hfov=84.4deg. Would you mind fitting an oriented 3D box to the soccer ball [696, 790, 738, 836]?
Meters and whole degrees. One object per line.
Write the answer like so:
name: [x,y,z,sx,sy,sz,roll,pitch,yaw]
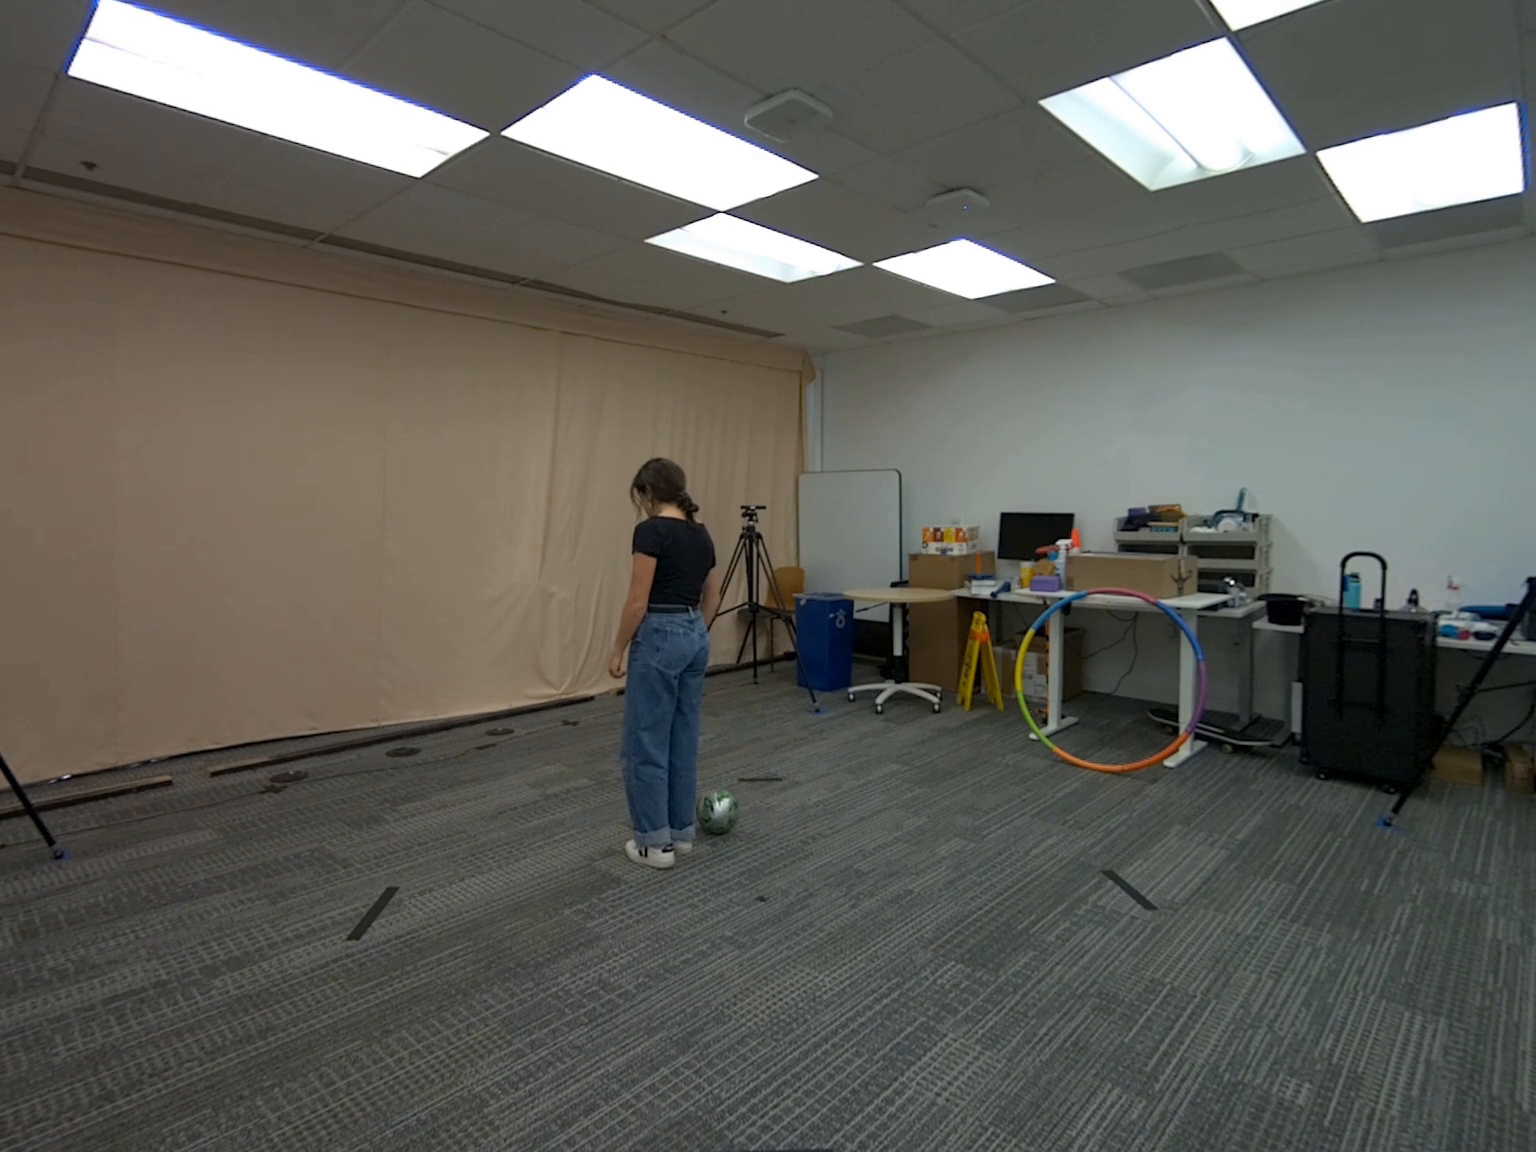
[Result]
soccer ball: [-0.209,1.002,3.592,0.187,0.187,0.188,0,4,-2]
